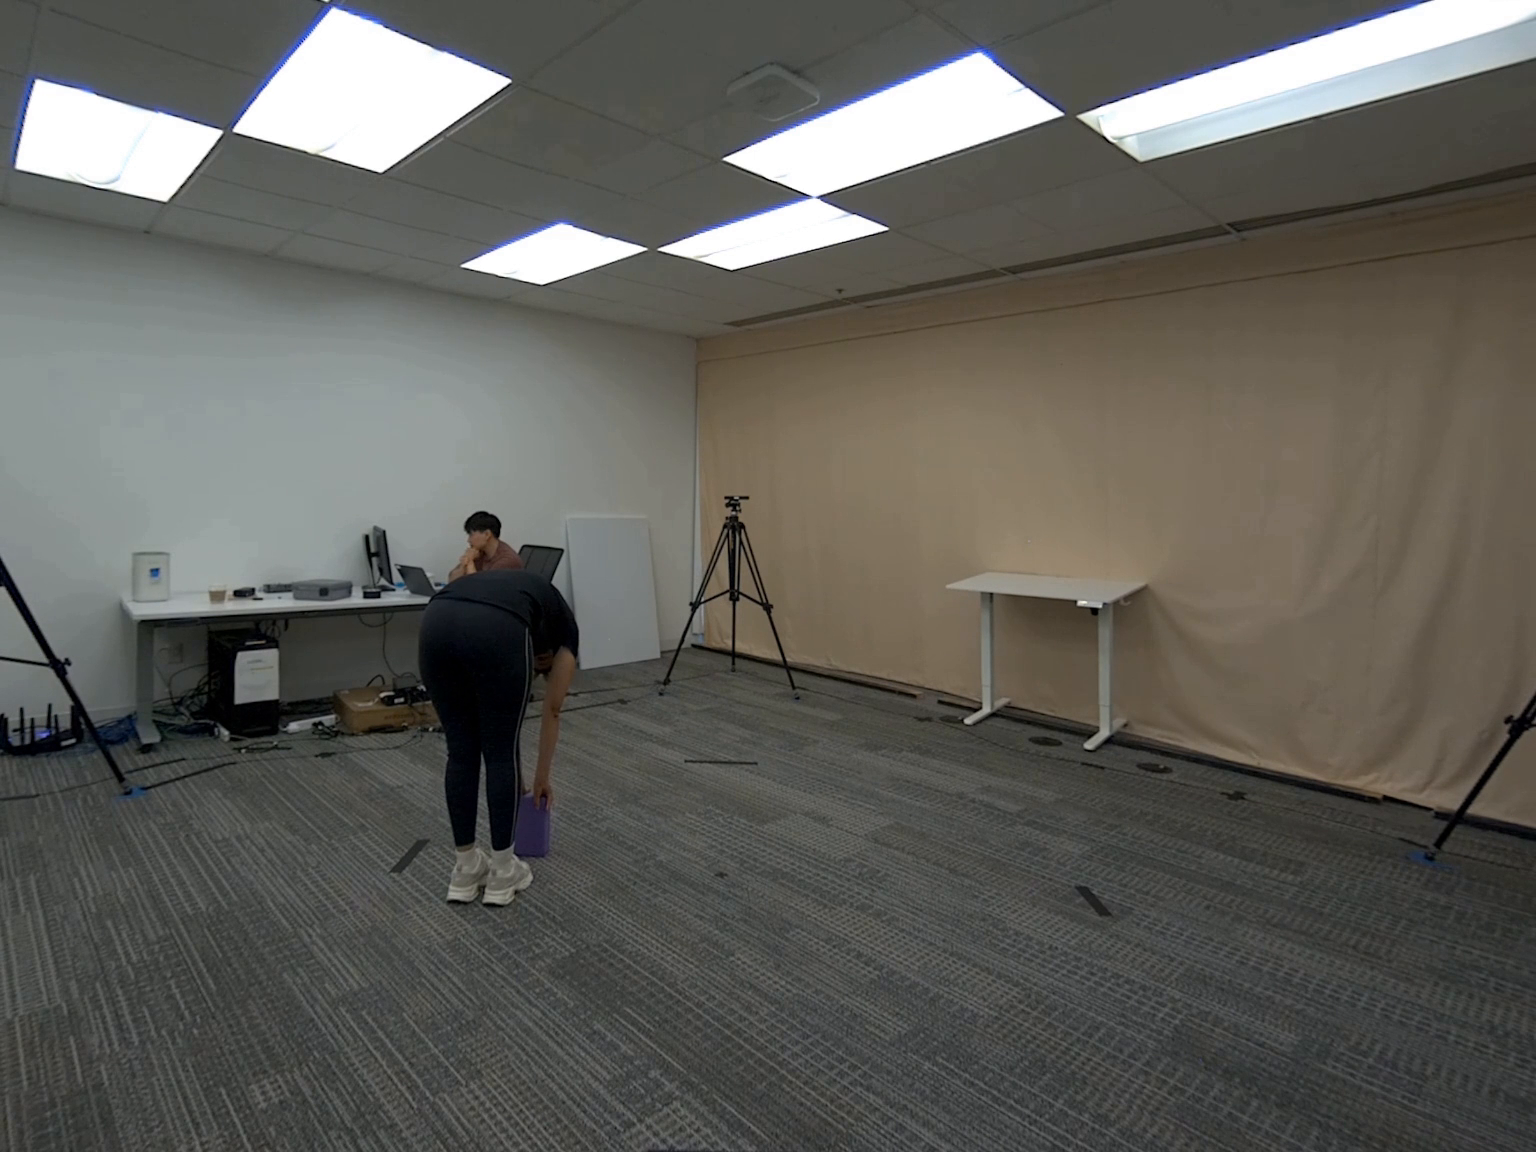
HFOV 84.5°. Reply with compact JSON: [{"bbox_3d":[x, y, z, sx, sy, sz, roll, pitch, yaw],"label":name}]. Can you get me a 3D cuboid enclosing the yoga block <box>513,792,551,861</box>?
[{"bbox_3d":[-0.931,0.965,3.254,0.149,0.229,0.076,3,4,5],"label":"yoga block"}]
